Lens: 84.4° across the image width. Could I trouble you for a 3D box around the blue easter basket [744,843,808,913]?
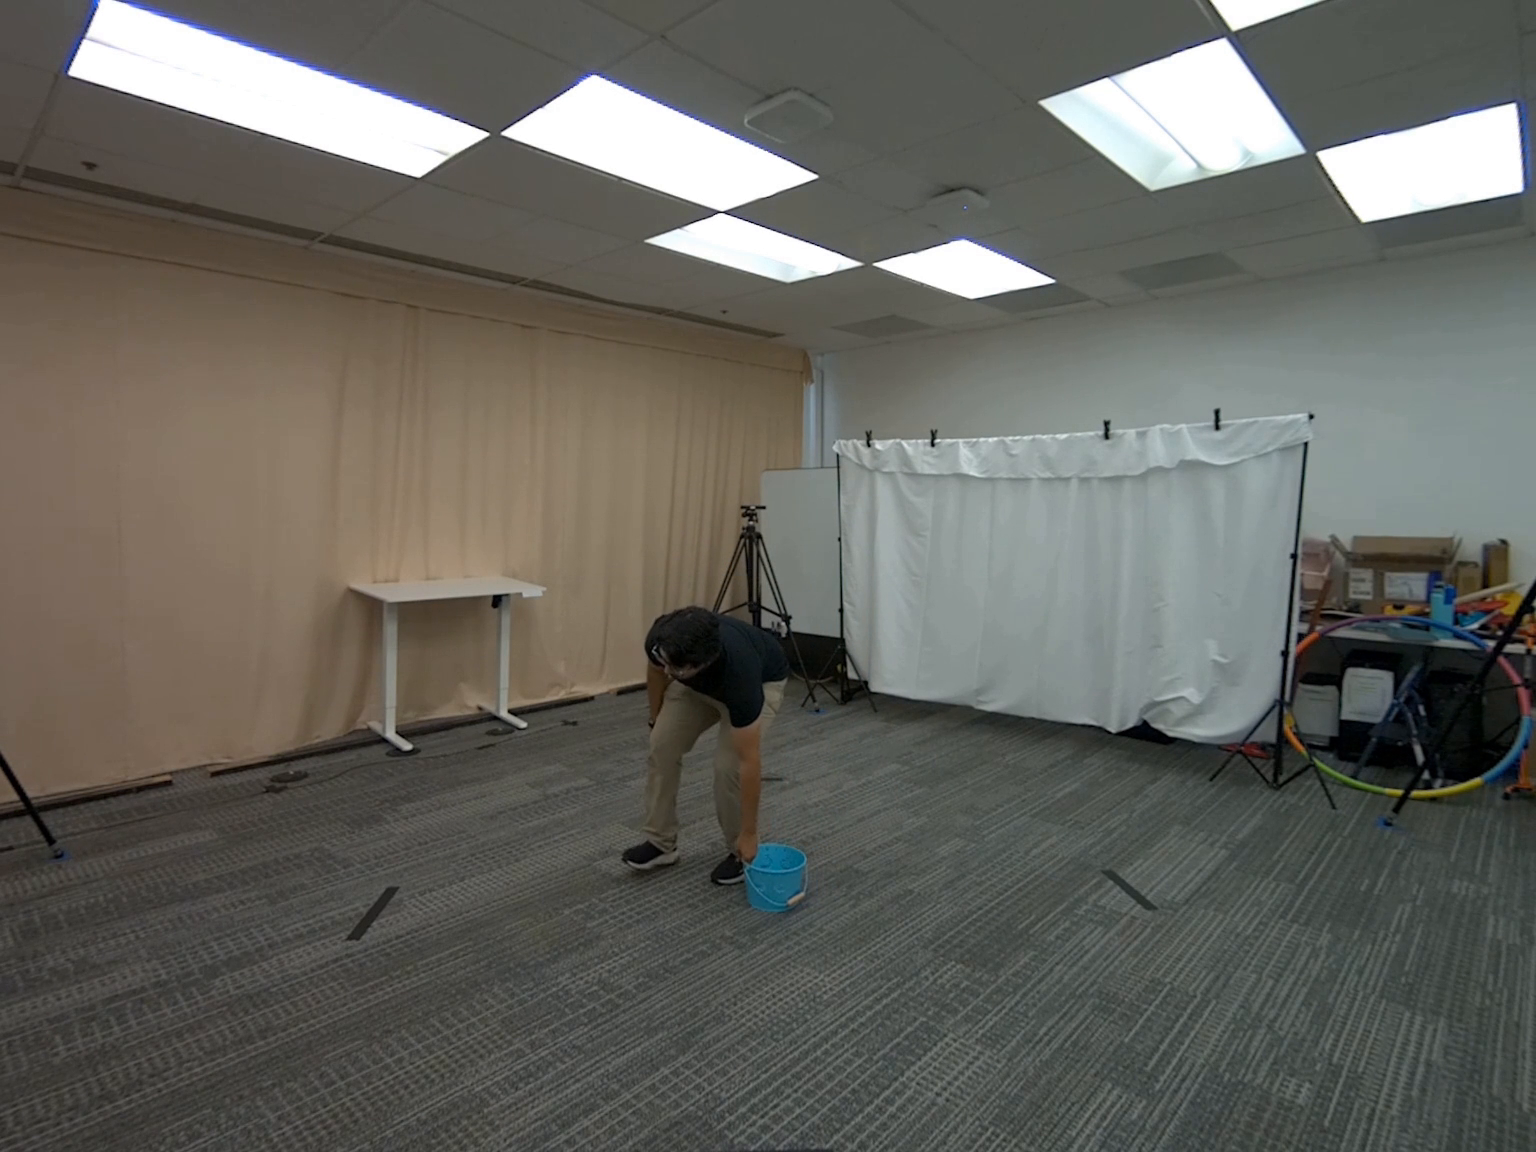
[{"bbox_3d":[0.023,1.067,2.973,0.243,0.155,0.244,0,4,-2],"label":"blue easter basket"}]
